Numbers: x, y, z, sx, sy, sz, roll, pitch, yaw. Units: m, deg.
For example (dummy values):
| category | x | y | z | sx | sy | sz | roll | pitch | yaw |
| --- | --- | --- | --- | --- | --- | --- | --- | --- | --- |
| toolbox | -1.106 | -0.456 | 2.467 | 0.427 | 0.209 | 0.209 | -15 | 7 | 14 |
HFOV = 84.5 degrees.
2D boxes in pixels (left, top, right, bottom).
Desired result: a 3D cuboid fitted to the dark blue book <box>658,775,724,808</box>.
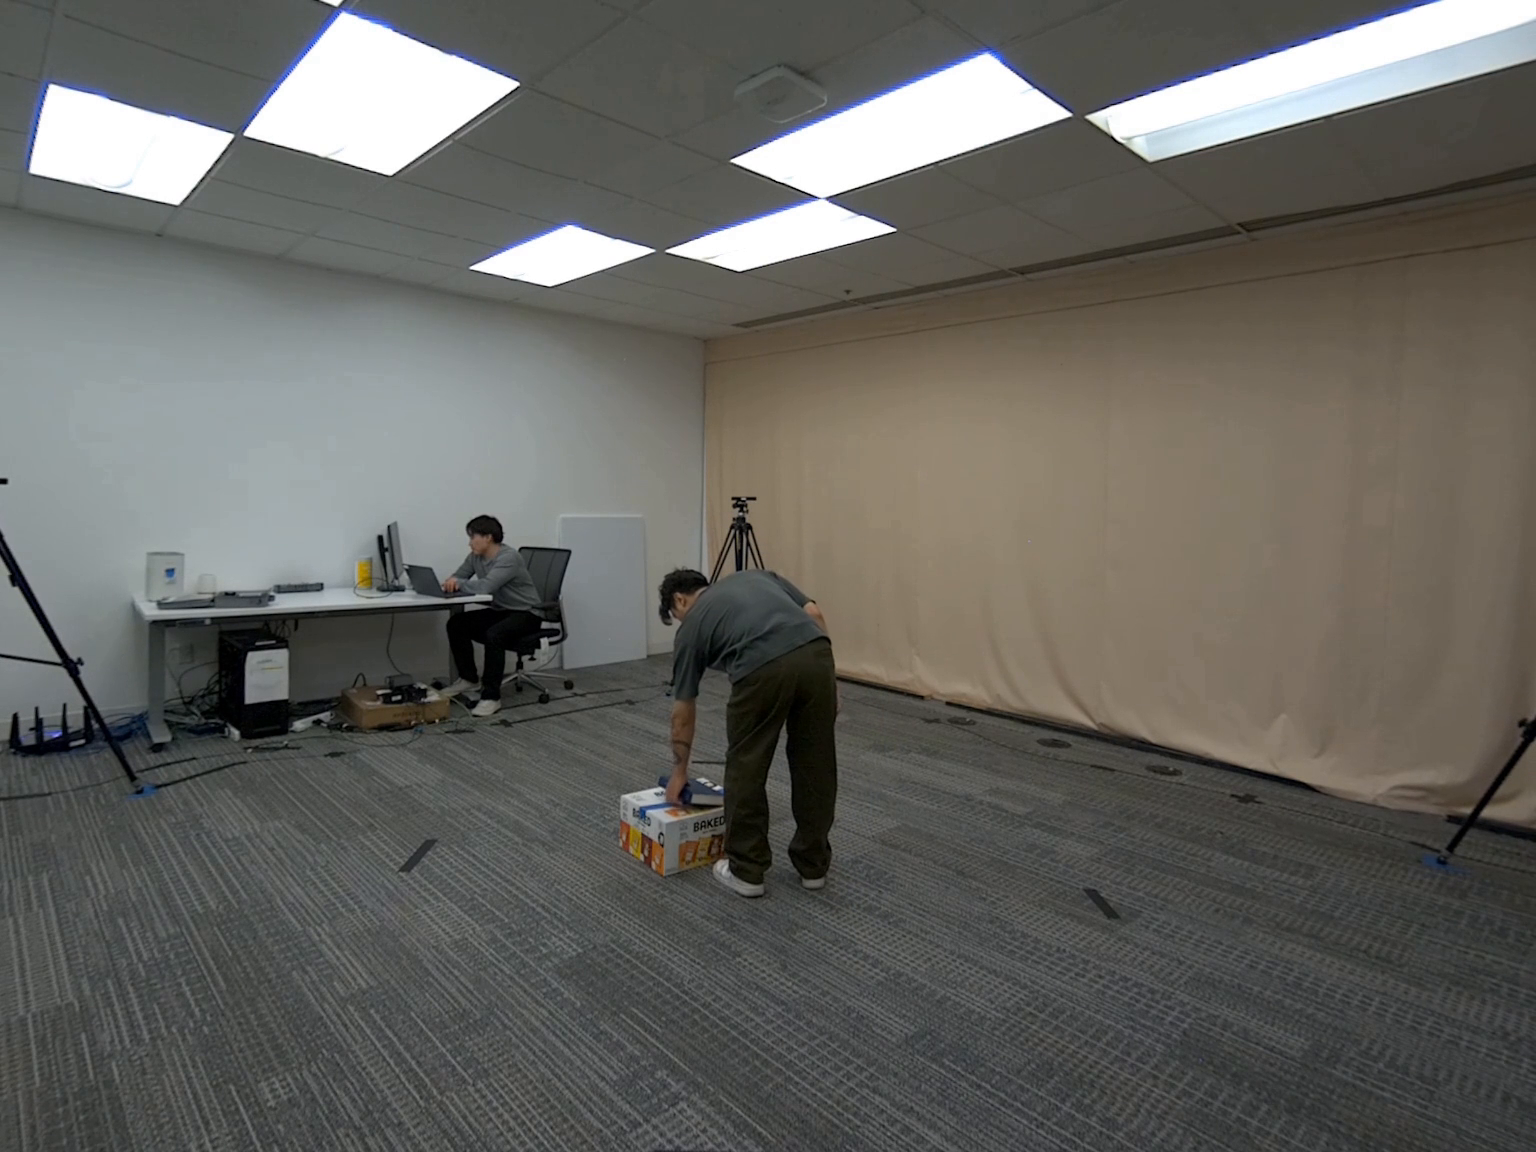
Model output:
| category | x | y | z | sx | sy | sz | roll | pitch | yaw |
| --- | --- | --- | --- | --- | --- | --- | --- | --- | --- |
| dark blue book | -0.308 | 0.850 | 3.325 | 0.159 | 0.045 | 0.251 | 14 | -3 | -39 |
